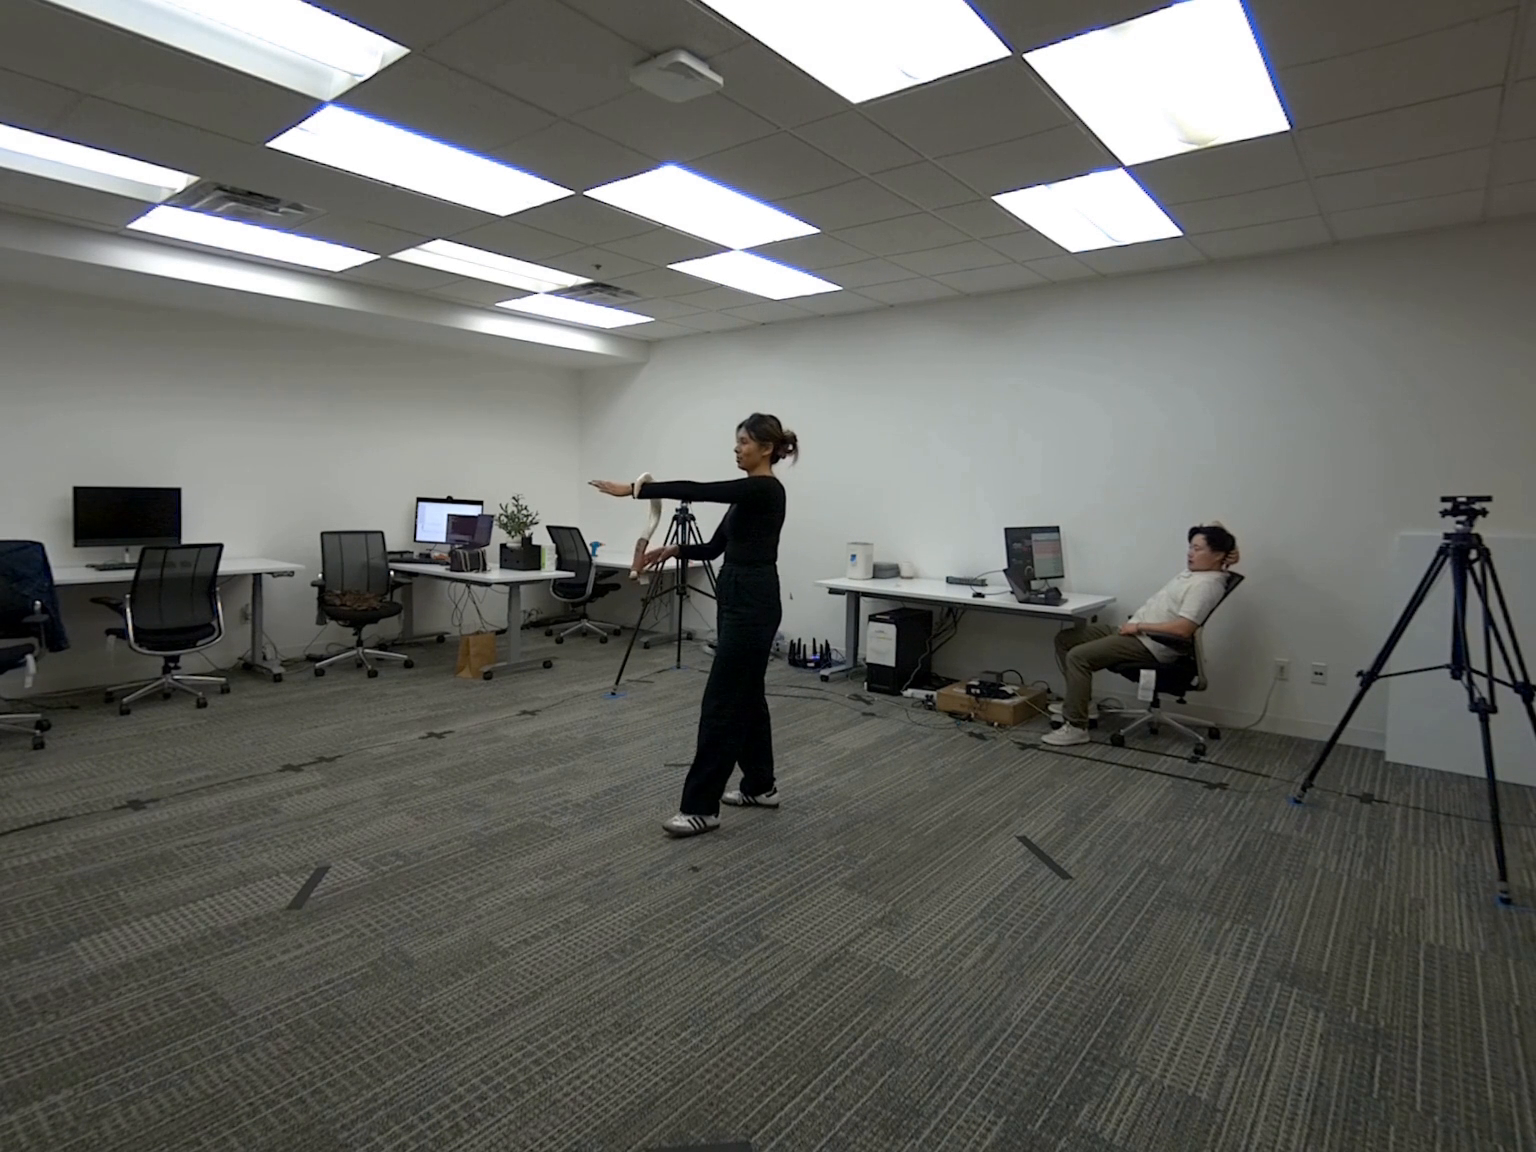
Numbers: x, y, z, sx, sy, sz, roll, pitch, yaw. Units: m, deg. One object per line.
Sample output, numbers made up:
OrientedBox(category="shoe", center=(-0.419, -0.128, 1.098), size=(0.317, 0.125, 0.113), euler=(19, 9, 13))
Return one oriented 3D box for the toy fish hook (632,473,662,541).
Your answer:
OrientedBox(category="toy fish hook", center=(-0.510, -0.202, 3.307), size=(0.049, 0.519, 0.216), euler=(-11, -44, 16))
